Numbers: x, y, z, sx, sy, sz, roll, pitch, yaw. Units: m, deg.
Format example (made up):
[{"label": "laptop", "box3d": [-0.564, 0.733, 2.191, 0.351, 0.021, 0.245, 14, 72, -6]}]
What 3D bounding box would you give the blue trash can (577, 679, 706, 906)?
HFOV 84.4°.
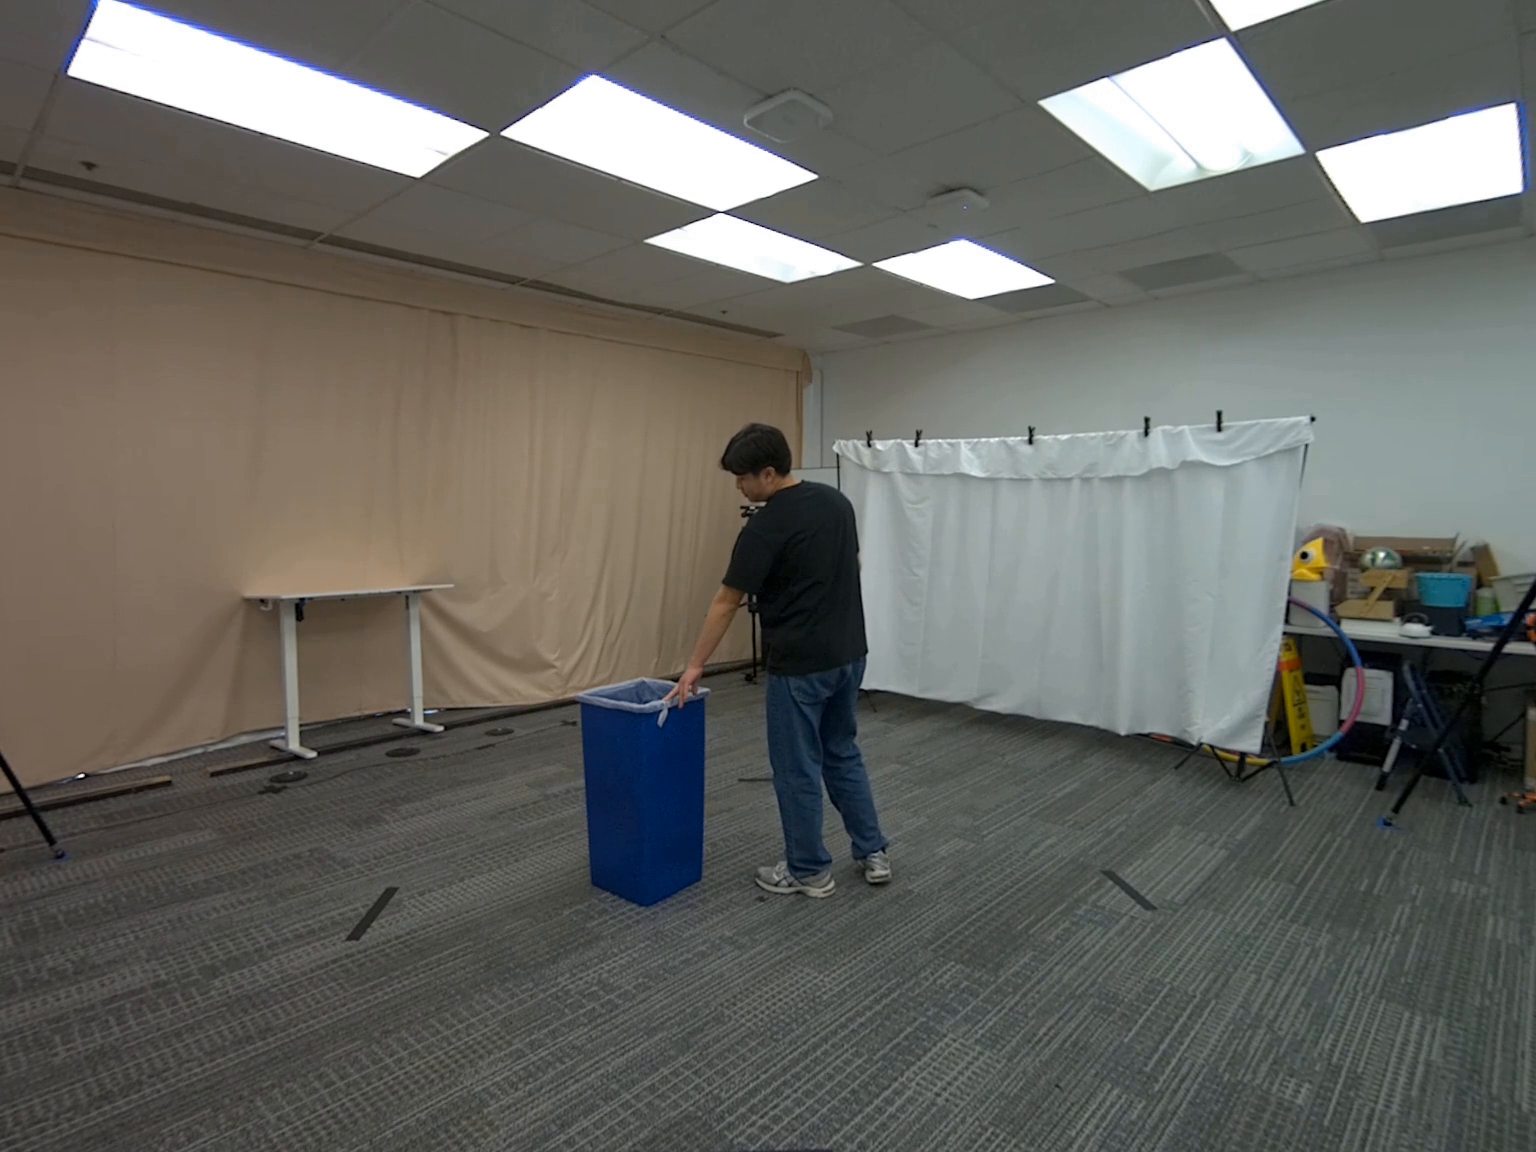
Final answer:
[{"label": "blue trash can", "box3d": [-0.462, 0.782, 3.118, 0.386, 0.712, 0.367, 2, 4, 38]}]
